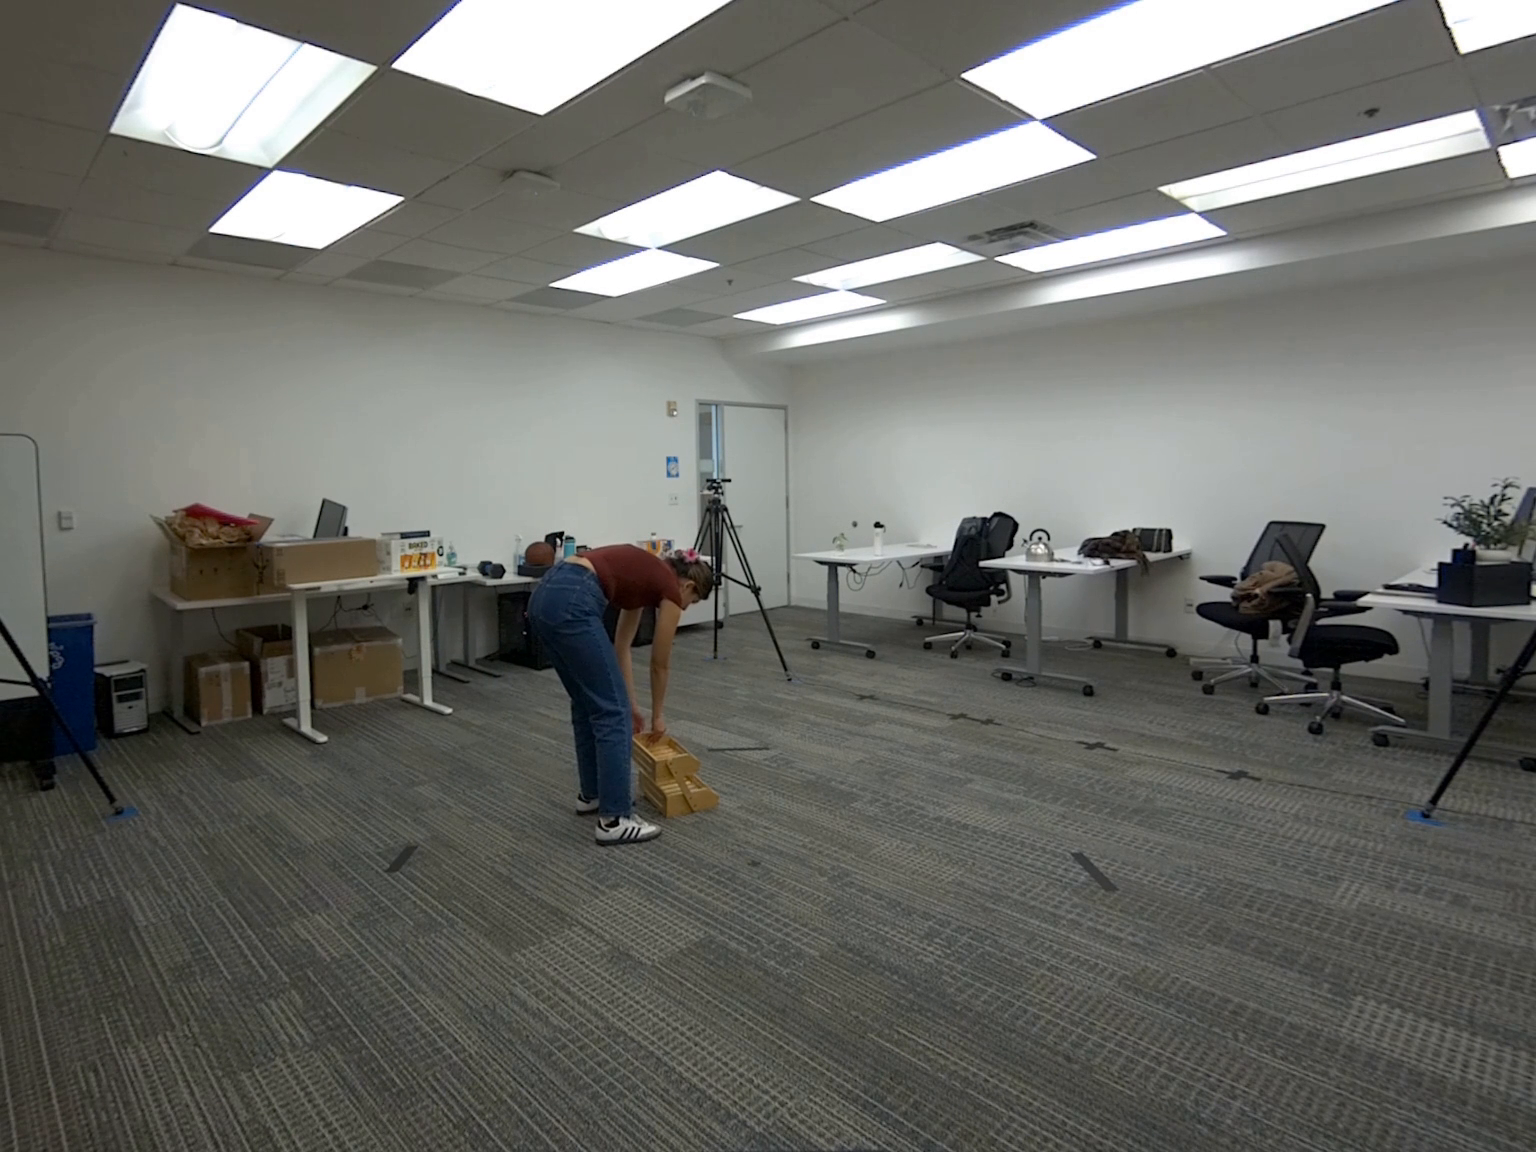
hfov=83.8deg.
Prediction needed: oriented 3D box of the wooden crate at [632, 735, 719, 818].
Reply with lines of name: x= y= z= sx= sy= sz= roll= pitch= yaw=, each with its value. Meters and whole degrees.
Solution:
wooden crate: x=-0.406 y=0.837 z=3.703 sx=0.295 sy=0.271 sz=0.335 roll=-5 pitch=12 yaw=-30
